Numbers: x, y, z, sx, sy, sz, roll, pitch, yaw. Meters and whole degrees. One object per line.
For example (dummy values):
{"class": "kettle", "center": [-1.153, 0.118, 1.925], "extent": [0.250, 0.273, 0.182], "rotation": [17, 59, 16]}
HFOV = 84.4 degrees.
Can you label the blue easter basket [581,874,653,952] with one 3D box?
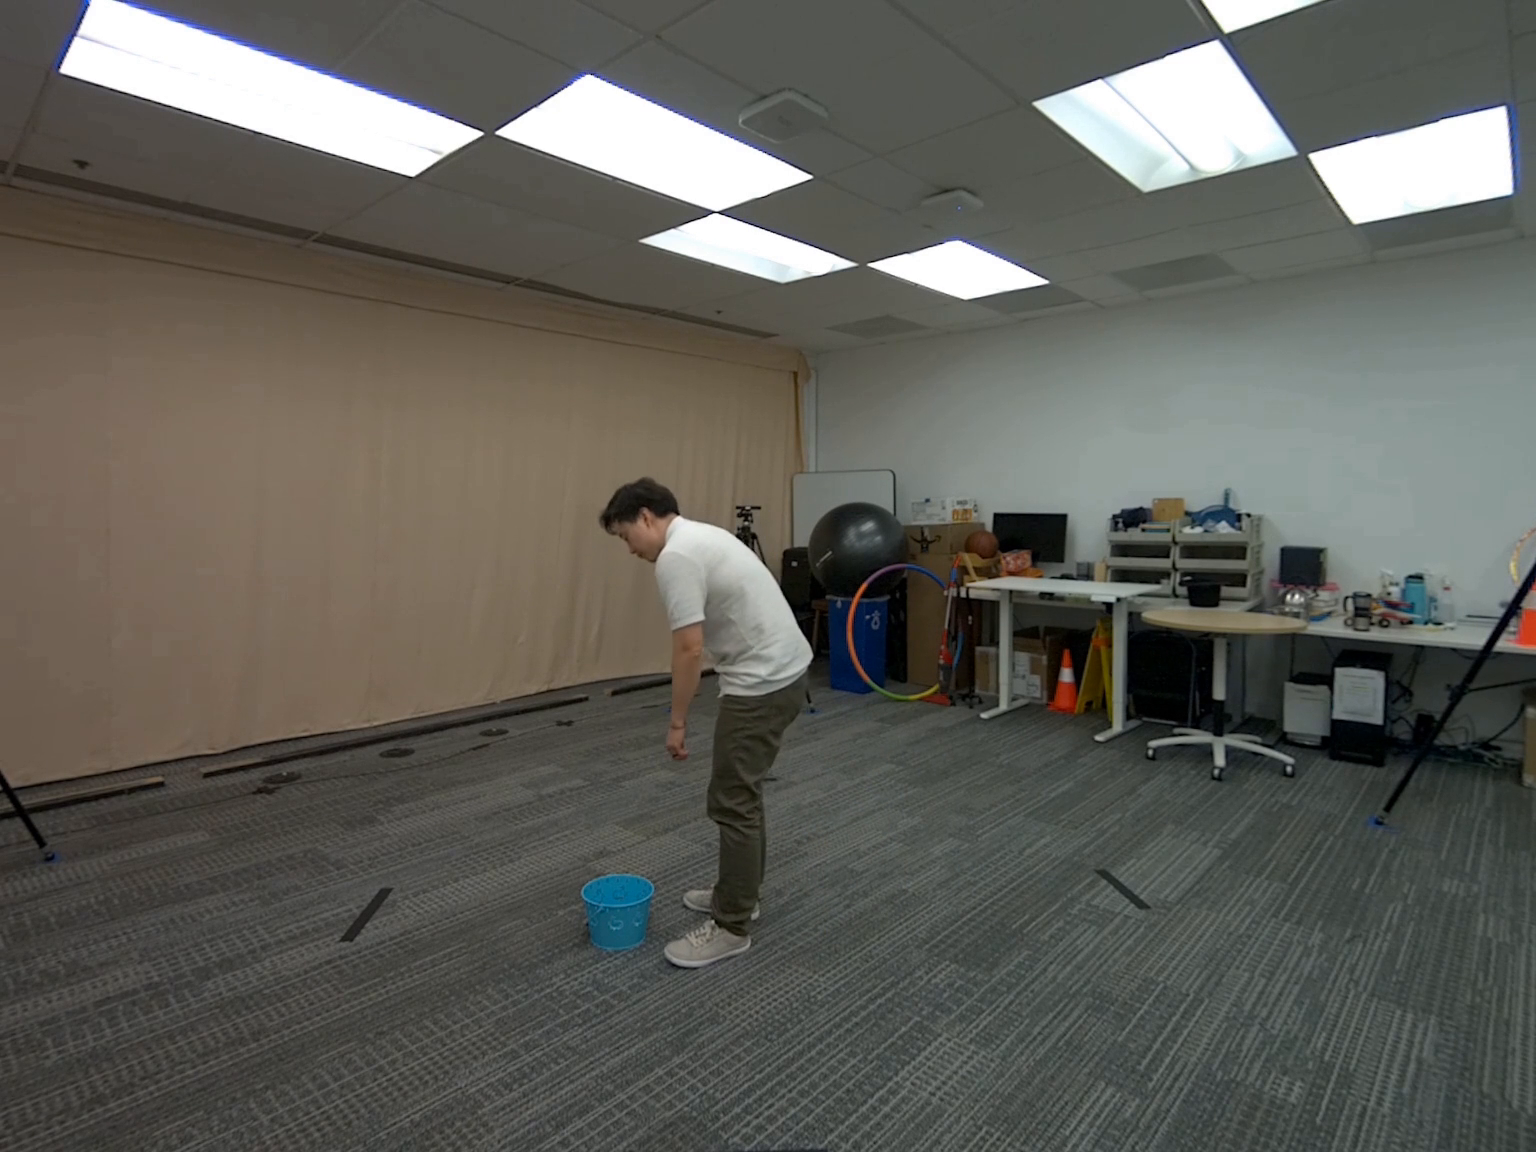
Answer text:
{"class": "blue easter basket", "center": [-0.489, 1.094, 2.737], "extent": [0.243, 0.155, 0.244], "rotation": [0, 4, -2]}
